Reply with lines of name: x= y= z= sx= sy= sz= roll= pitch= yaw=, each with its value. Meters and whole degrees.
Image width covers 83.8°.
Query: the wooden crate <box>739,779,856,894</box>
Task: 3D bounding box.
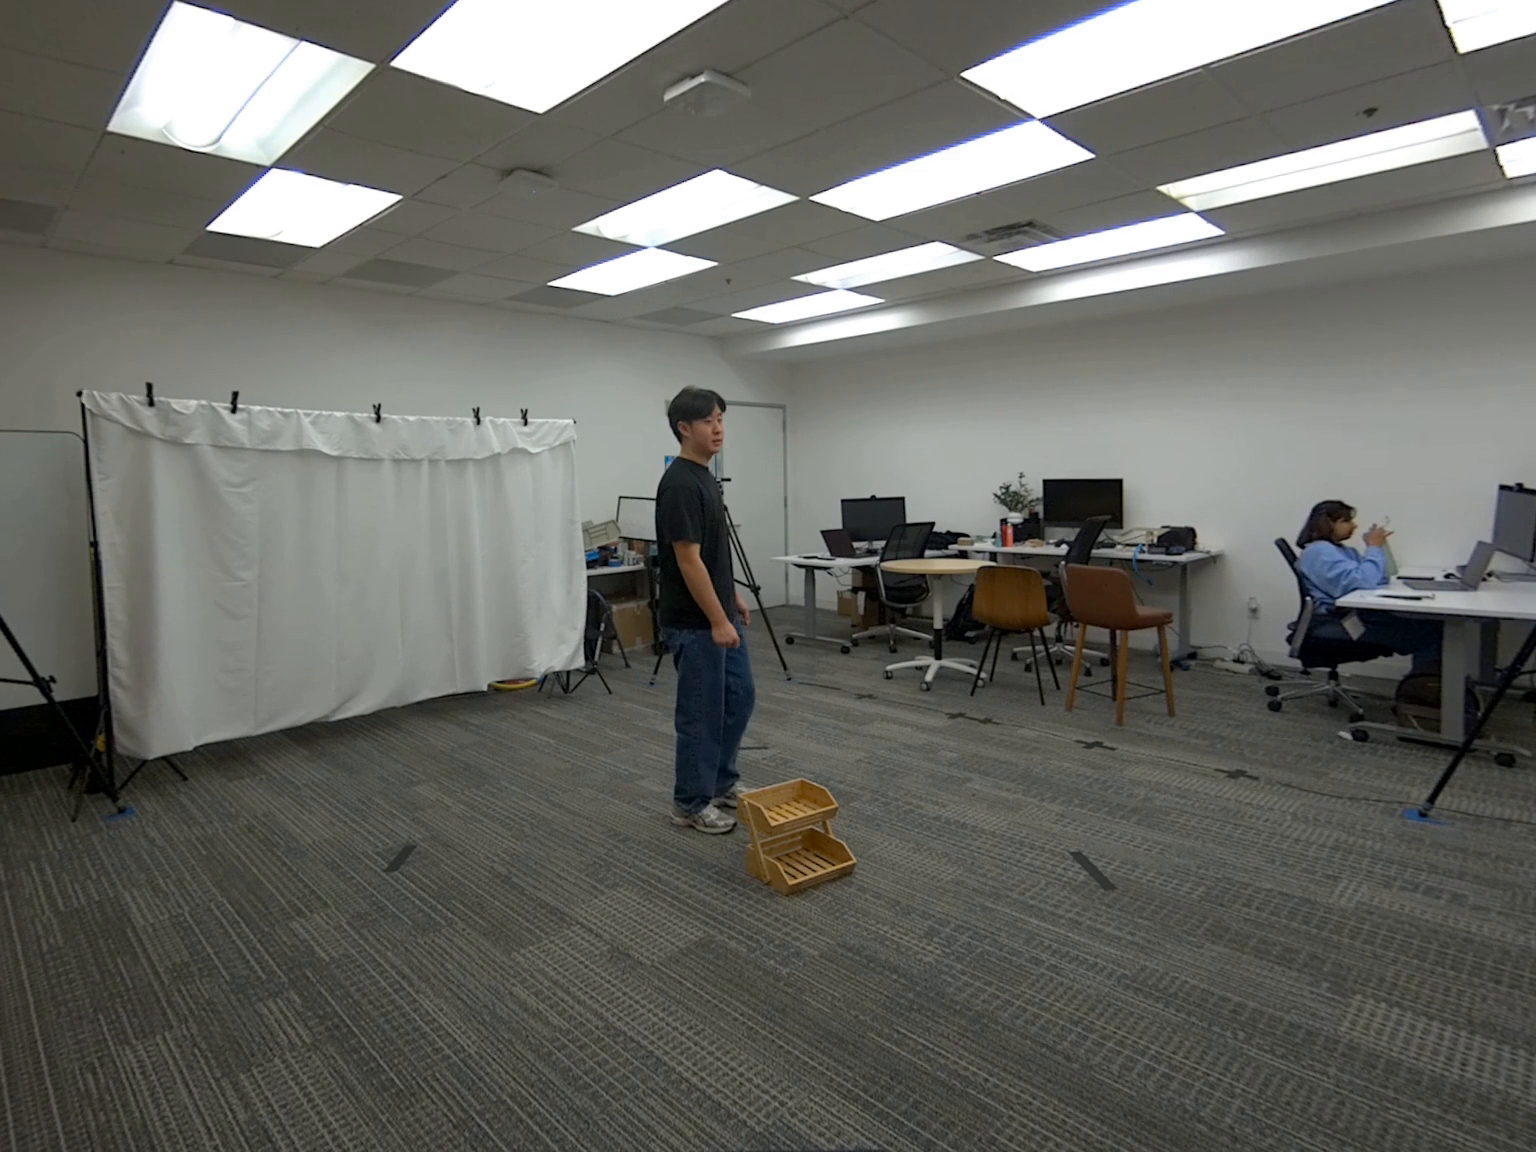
wooden crate: x=0.106 y=0.913 z=3.036 sx=0.316 sy=0.272 sz=0.311 roll=-5 pitch=6 yaw=-35
